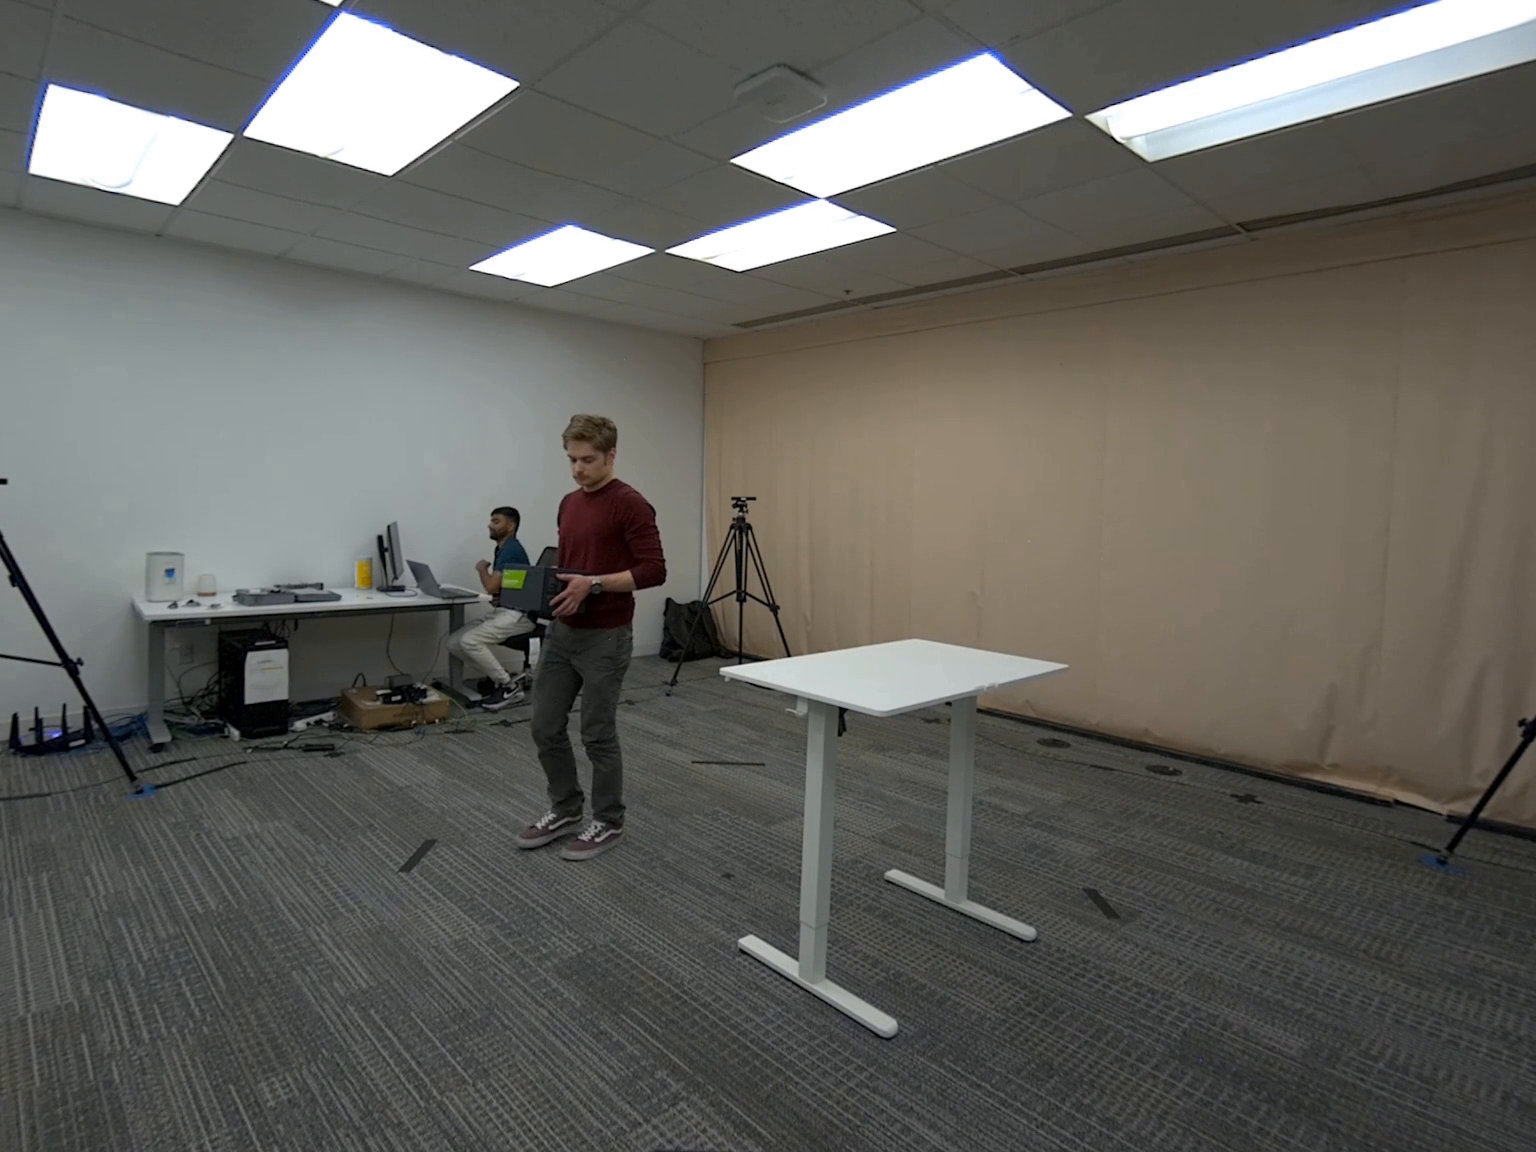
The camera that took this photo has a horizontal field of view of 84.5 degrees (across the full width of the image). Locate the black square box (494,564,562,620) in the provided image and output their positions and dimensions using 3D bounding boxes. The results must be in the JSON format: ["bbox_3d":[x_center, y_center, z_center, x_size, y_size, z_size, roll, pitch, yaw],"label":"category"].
[{"bbox_3d":[-0.833,0.044,3.077,0.233,0.156,0.211,5,-1,34],"label":"black square box"}]
